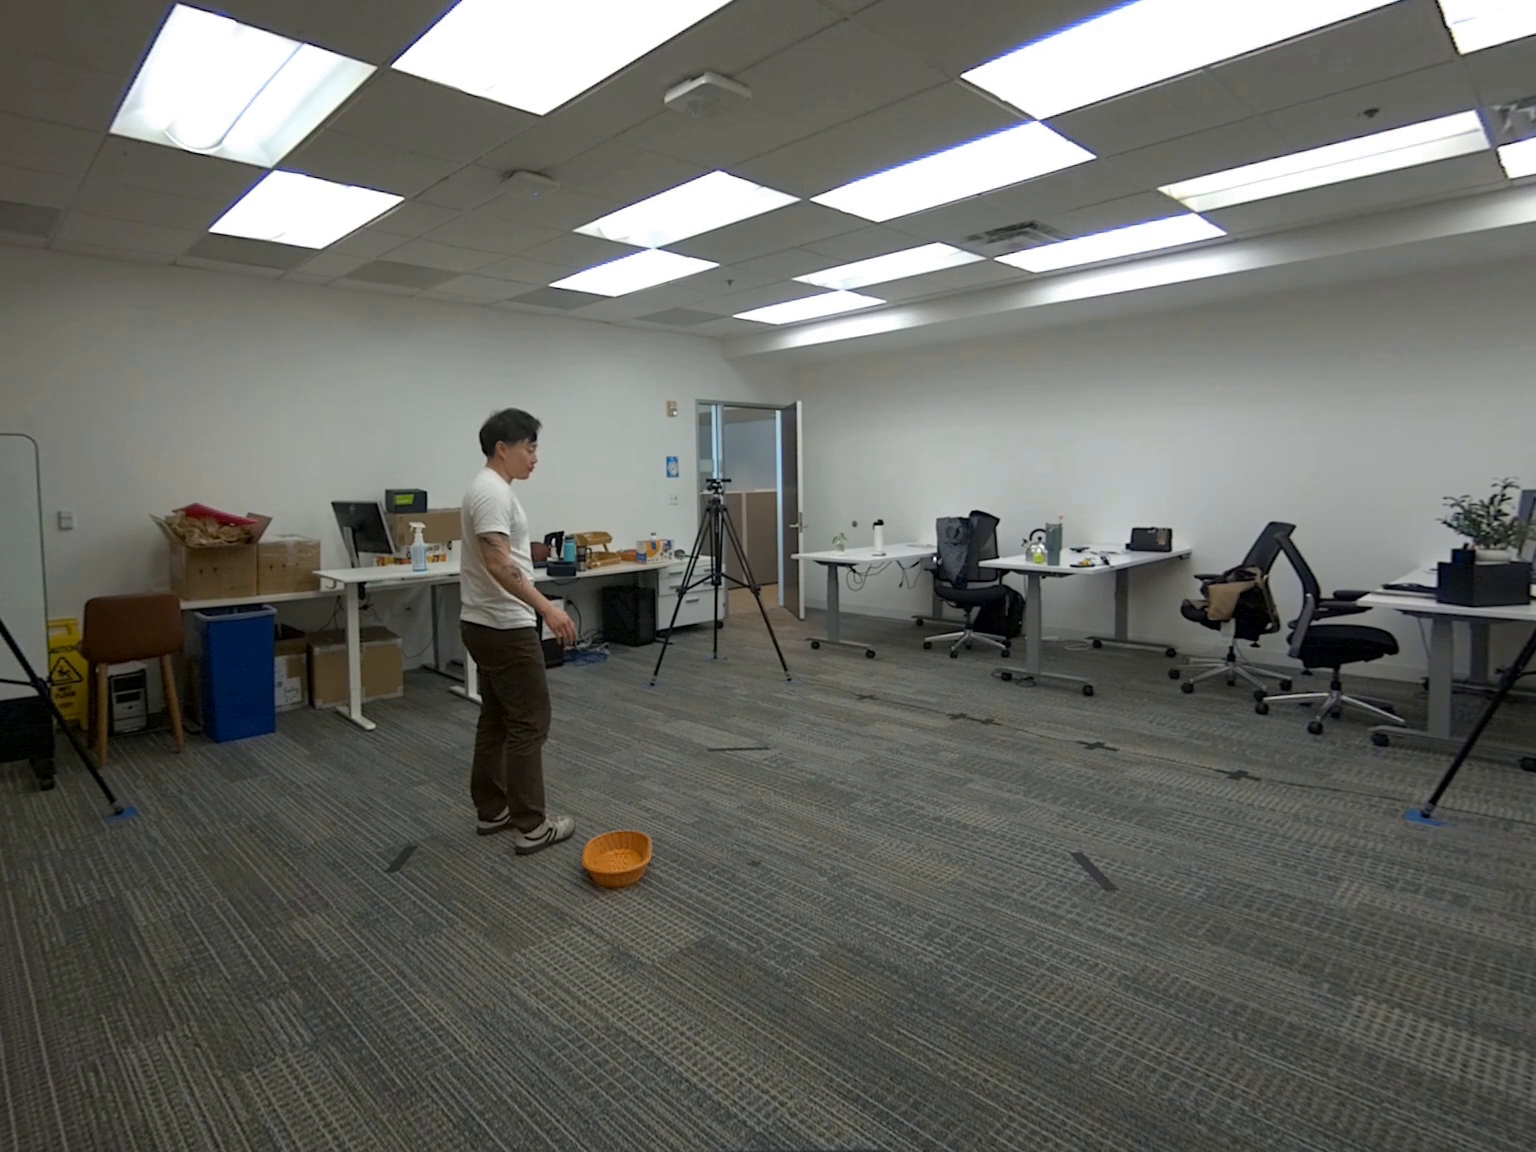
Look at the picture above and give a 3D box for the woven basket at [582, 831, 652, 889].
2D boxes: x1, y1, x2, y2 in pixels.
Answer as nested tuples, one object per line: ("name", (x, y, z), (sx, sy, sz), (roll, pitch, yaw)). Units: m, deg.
("woven basket", (-0.541, 1.020, 3.072), (0.252, 0.073, 0.353), (-2, 7, -4))
